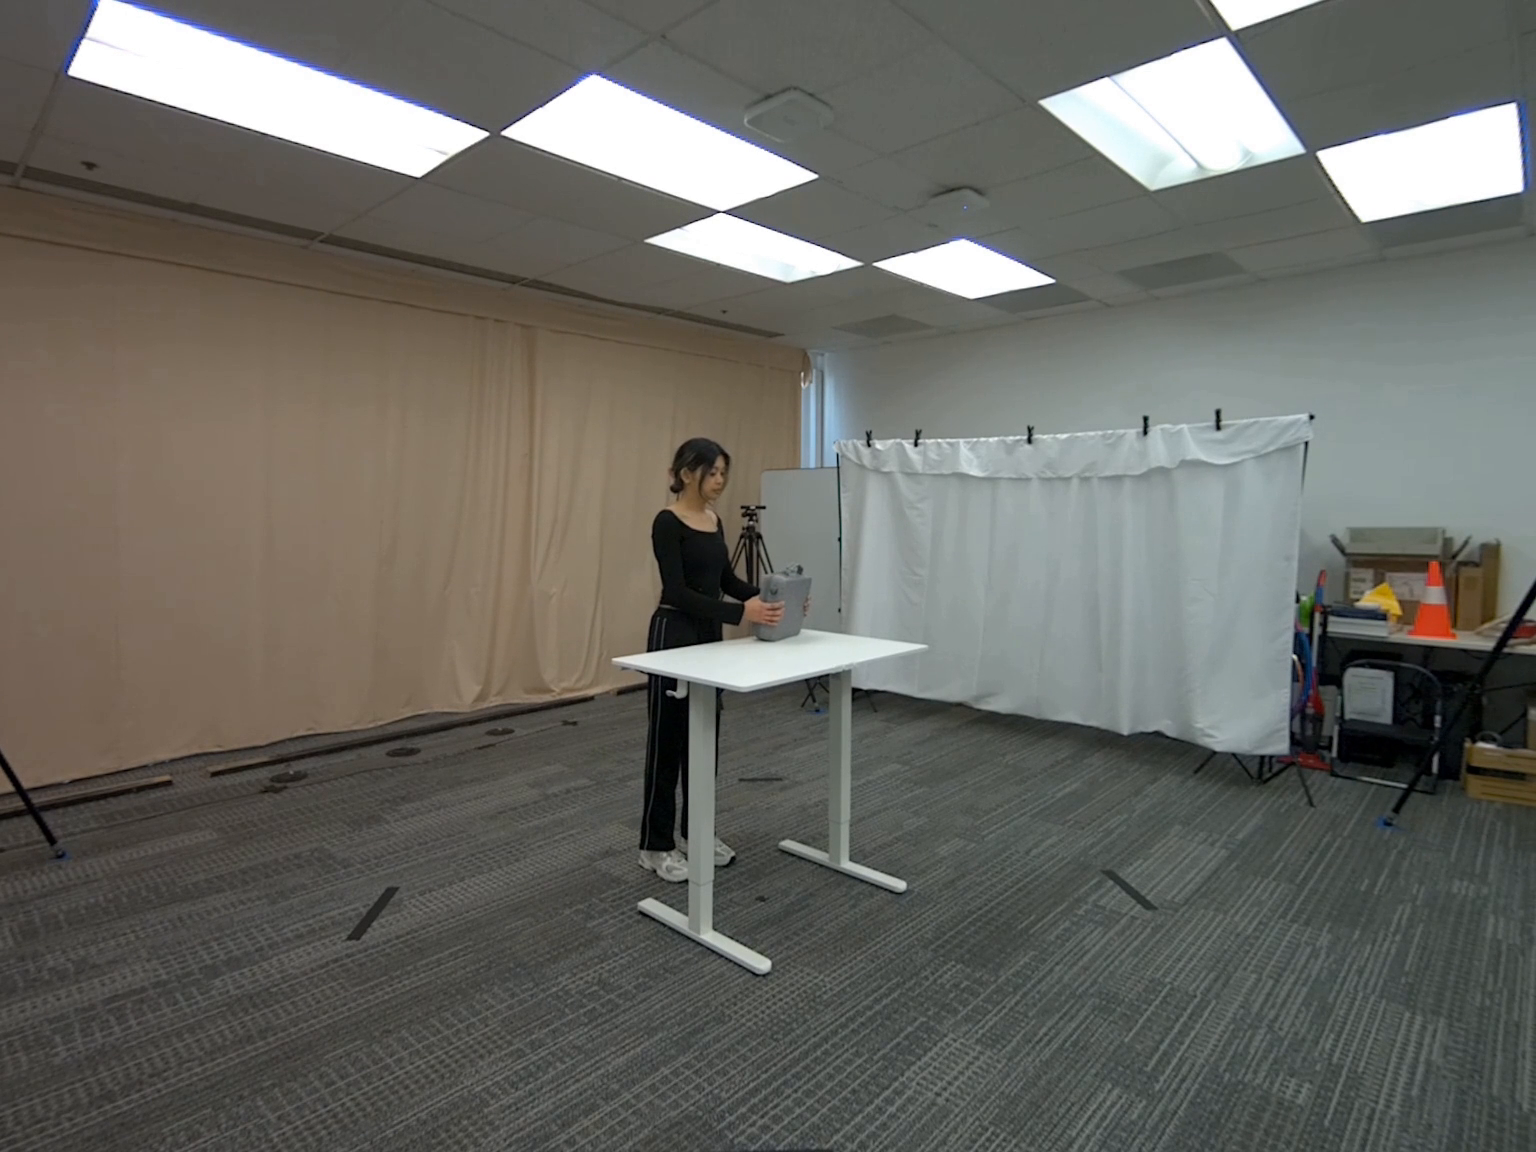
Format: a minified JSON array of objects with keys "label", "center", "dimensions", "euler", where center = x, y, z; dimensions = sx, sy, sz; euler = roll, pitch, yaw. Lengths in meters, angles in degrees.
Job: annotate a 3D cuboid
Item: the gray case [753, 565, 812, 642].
[{"label":"gray case","center":[0.059,0.111,3.236],"dimensions":[0.107,0.259,0.250],"euler":[16,11,29]}]
